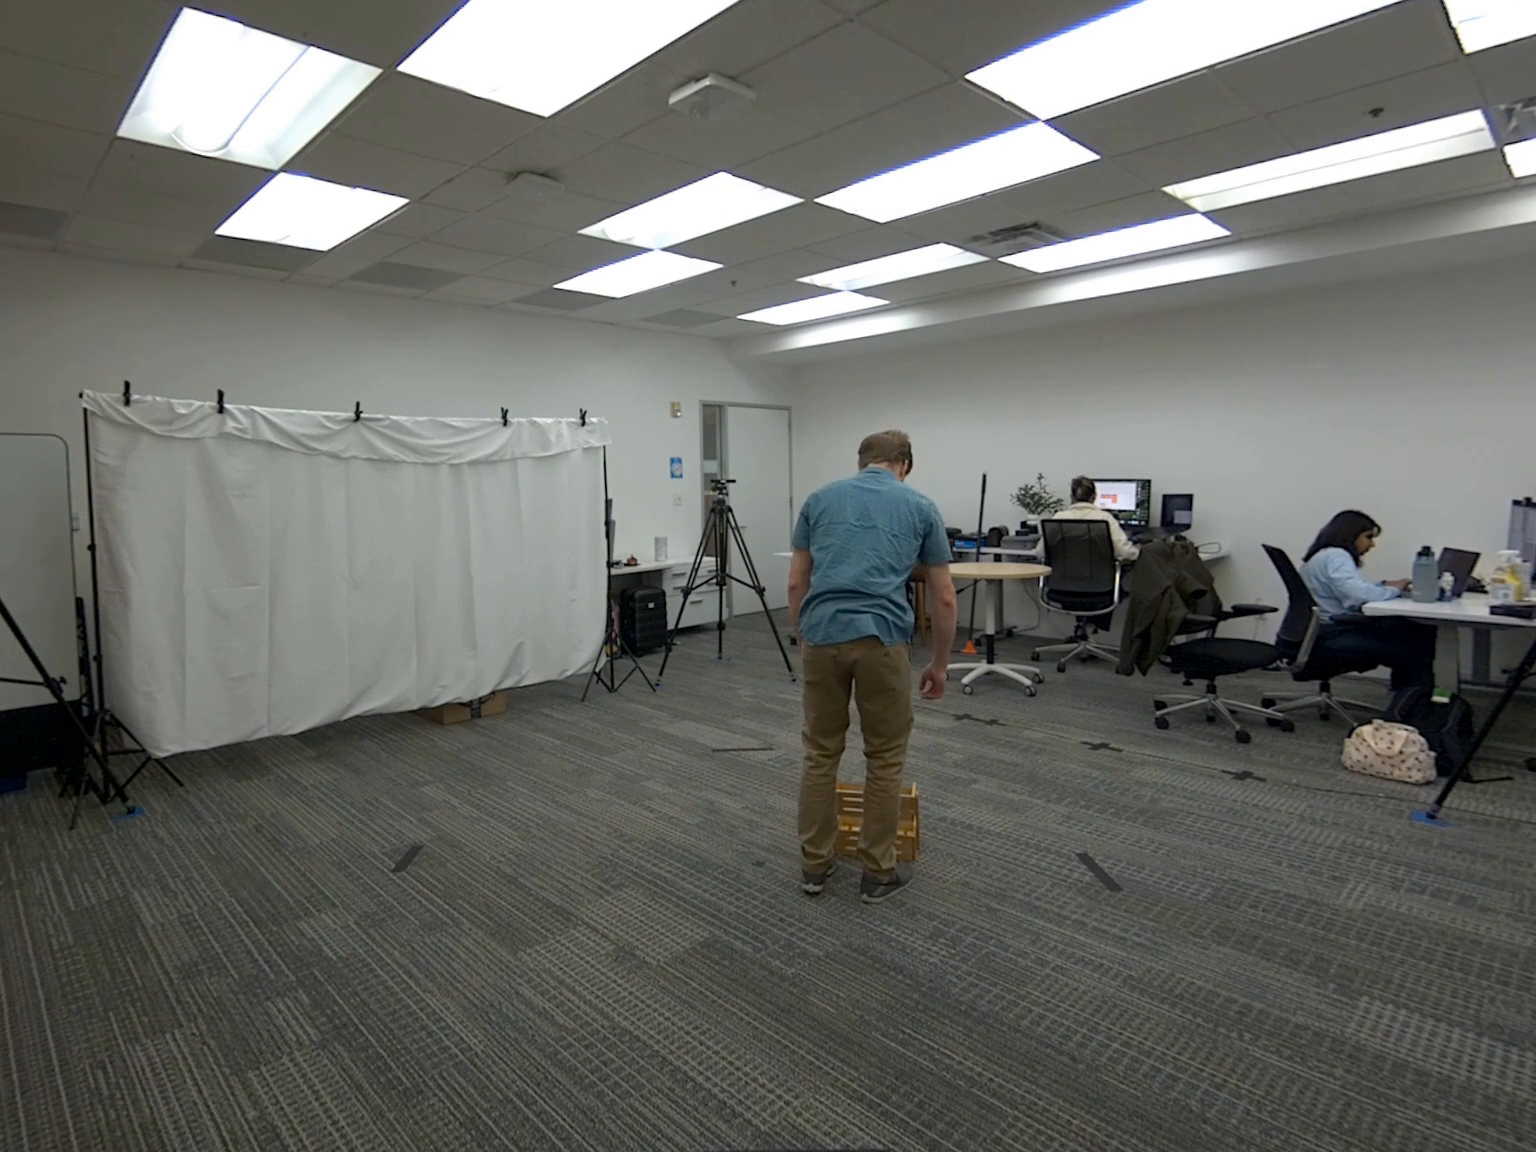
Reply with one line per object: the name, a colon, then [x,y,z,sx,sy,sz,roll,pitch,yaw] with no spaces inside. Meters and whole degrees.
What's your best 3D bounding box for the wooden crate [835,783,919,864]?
wooden crate: [0.414,0.894,3.232,0.329,0.272,0.299,0,5,14]
